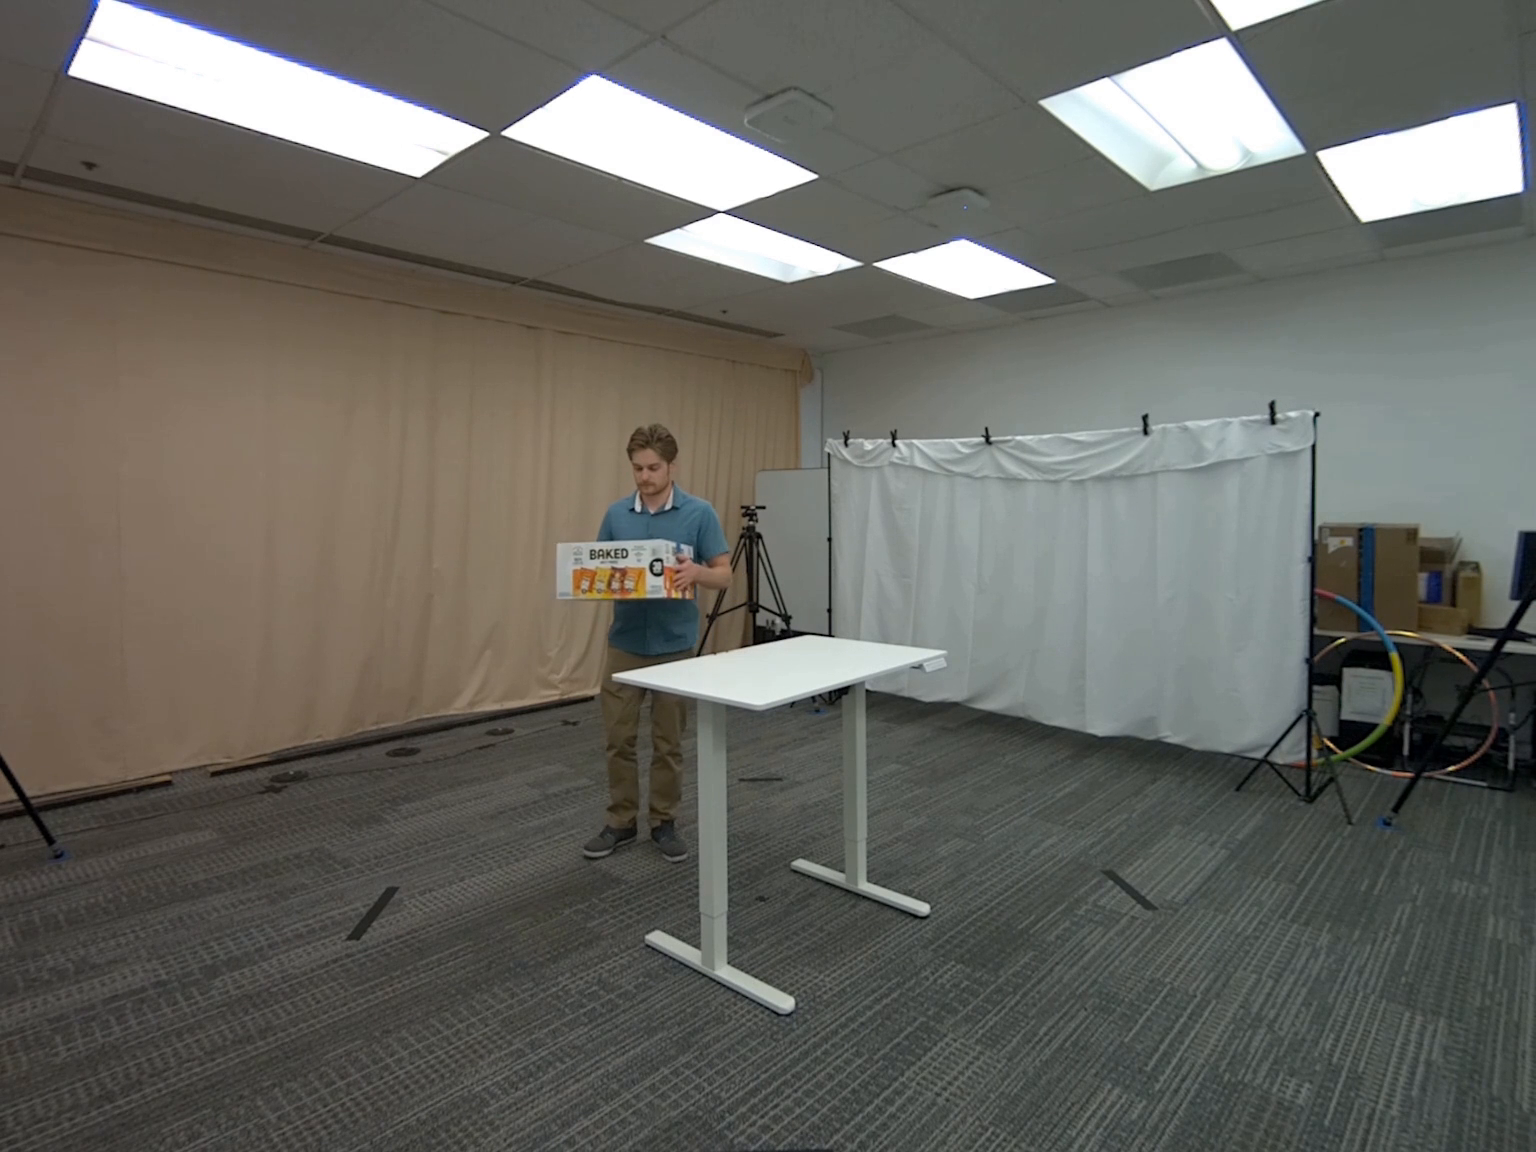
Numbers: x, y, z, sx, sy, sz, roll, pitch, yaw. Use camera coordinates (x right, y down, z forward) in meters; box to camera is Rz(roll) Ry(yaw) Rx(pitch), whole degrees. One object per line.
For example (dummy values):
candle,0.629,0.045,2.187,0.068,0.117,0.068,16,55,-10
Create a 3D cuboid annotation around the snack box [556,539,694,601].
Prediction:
snack box,-0.519,-0.013,3.108,0.411,0.206,0.335,-2,-3,13
